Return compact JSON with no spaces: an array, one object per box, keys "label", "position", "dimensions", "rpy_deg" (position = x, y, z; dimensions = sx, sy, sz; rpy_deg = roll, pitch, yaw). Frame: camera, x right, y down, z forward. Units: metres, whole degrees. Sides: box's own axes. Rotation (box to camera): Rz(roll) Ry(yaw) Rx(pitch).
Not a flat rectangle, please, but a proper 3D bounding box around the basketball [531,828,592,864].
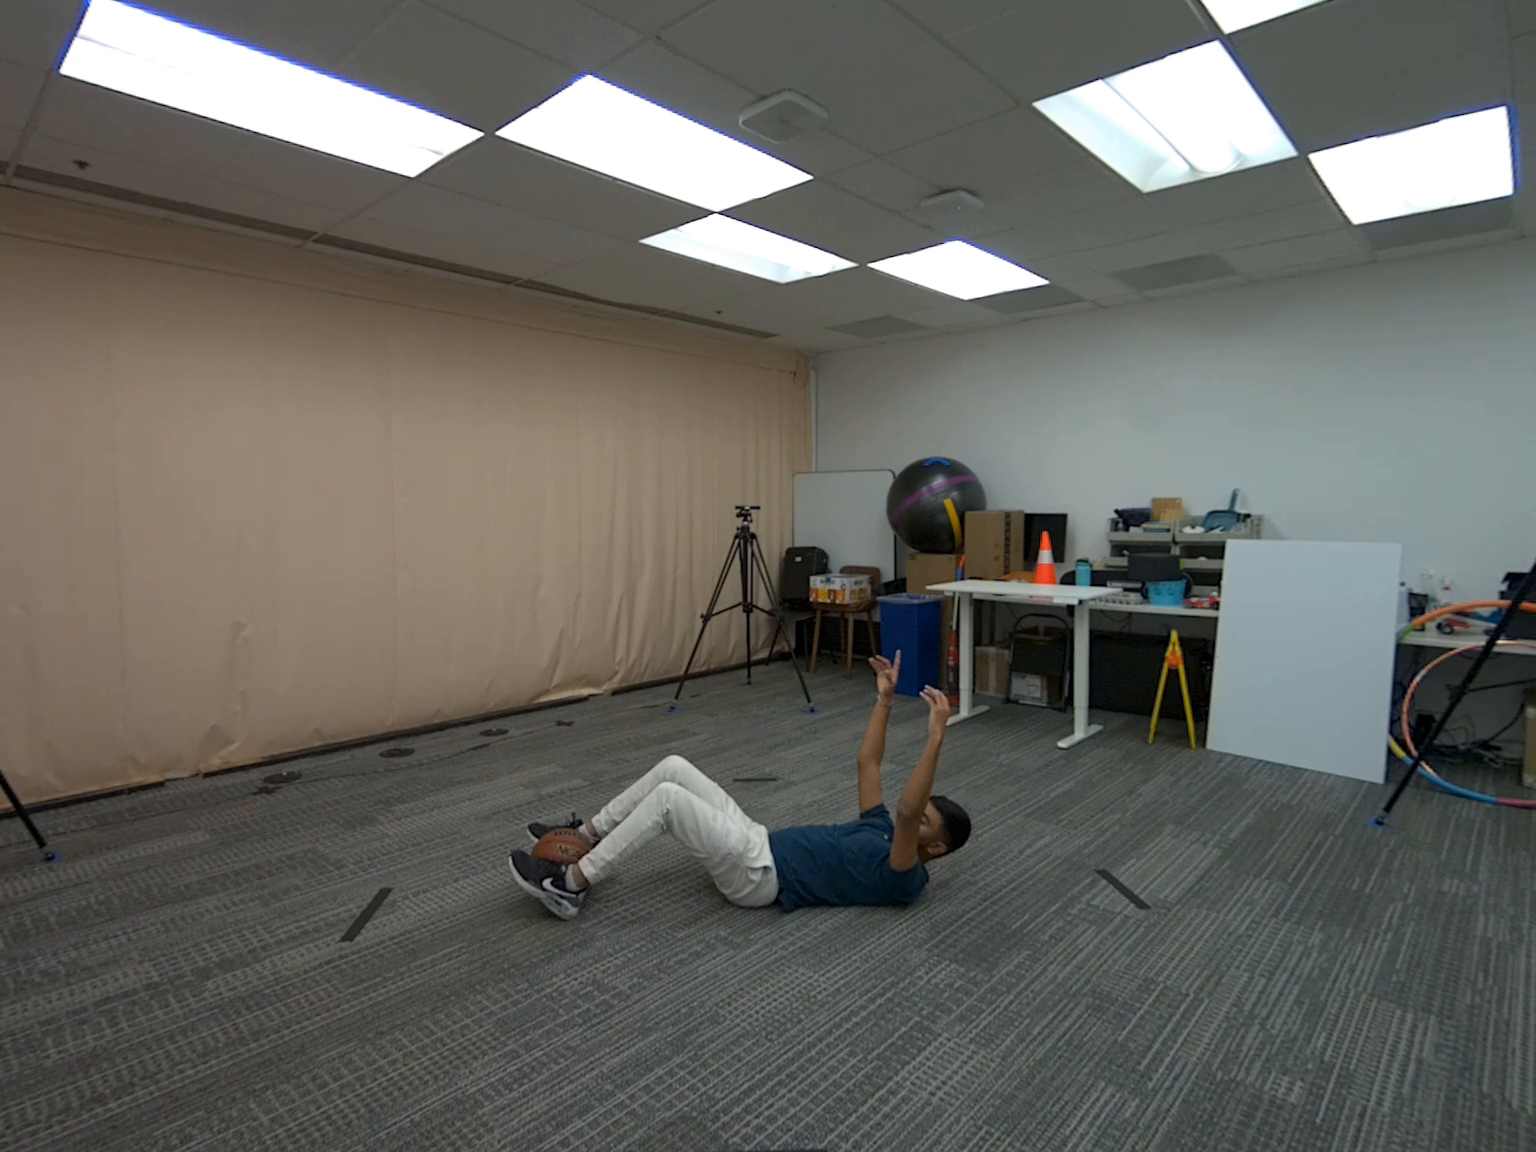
[{"label":"basketball","position":[-0.740,1.004,3.016],"dimensions":[0.236,0.235,0.237],"rpy_deg":[0,4,-2]}]
